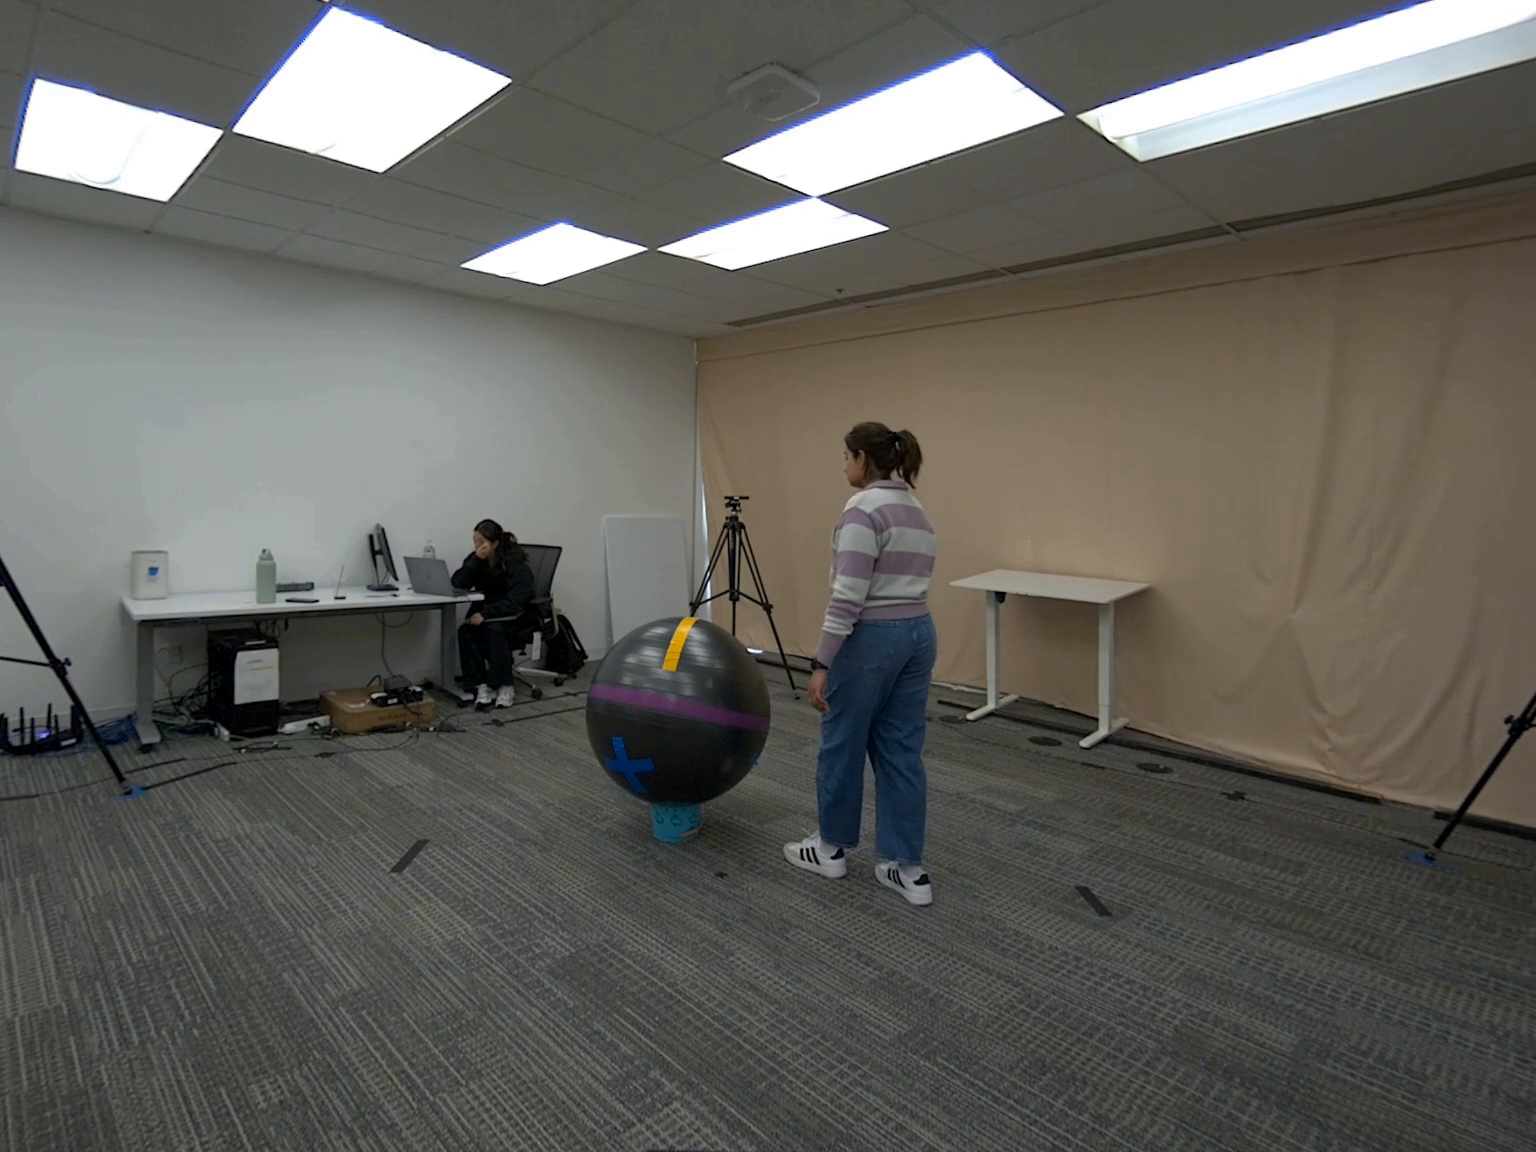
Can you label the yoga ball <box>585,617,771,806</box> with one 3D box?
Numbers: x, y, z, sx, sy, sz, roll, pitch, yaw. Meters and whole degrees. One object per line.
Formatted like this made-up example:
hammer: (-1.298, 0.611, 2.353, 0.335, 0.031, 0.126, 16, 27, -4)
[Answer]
yoga ball: (-0.383, 0.558, 3.483, 0.757, 0.756, 0.761, 1, 4, -1)
